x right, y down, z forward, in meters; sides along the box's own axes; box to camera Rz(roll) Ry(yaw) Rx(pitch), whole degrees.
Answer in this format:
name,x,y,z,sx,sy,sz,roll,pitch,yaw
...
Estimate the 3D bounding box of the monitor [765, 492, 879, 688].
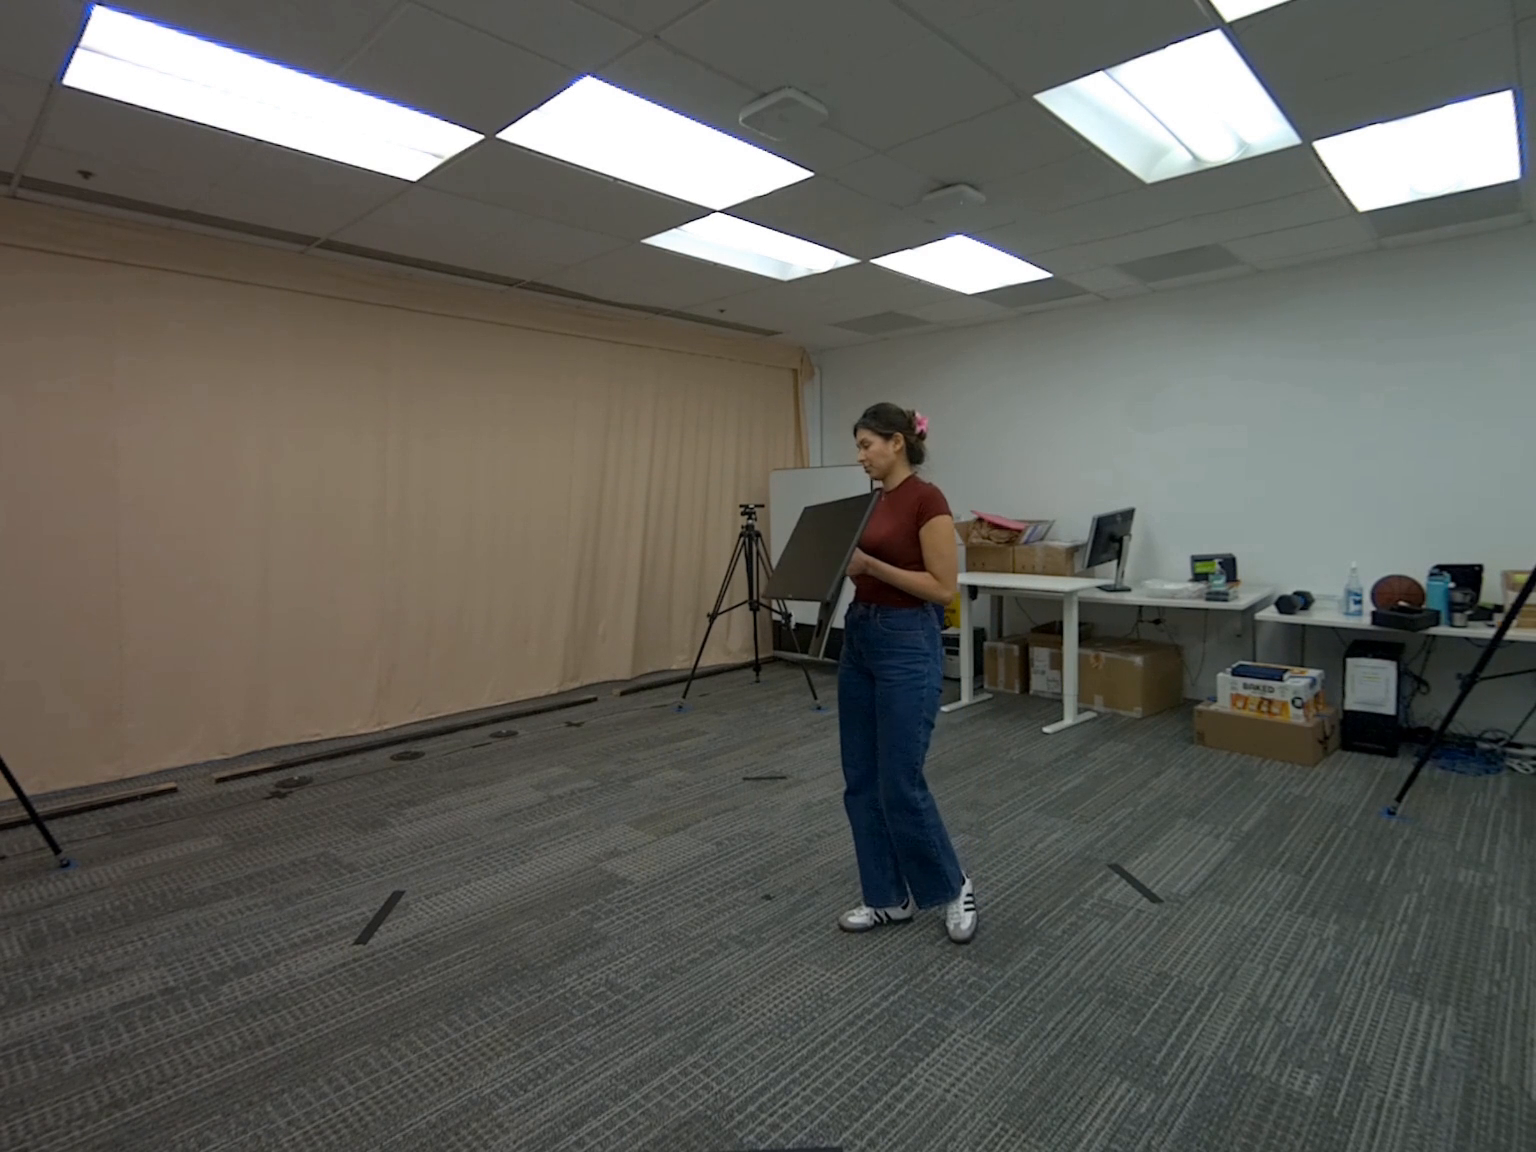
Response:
name,x,y,z,sx,sy,sz,roll,pitch,yaw
monitor,0.170,0.019,2.628,0.183,0.524,0.550,15,-6,-21
